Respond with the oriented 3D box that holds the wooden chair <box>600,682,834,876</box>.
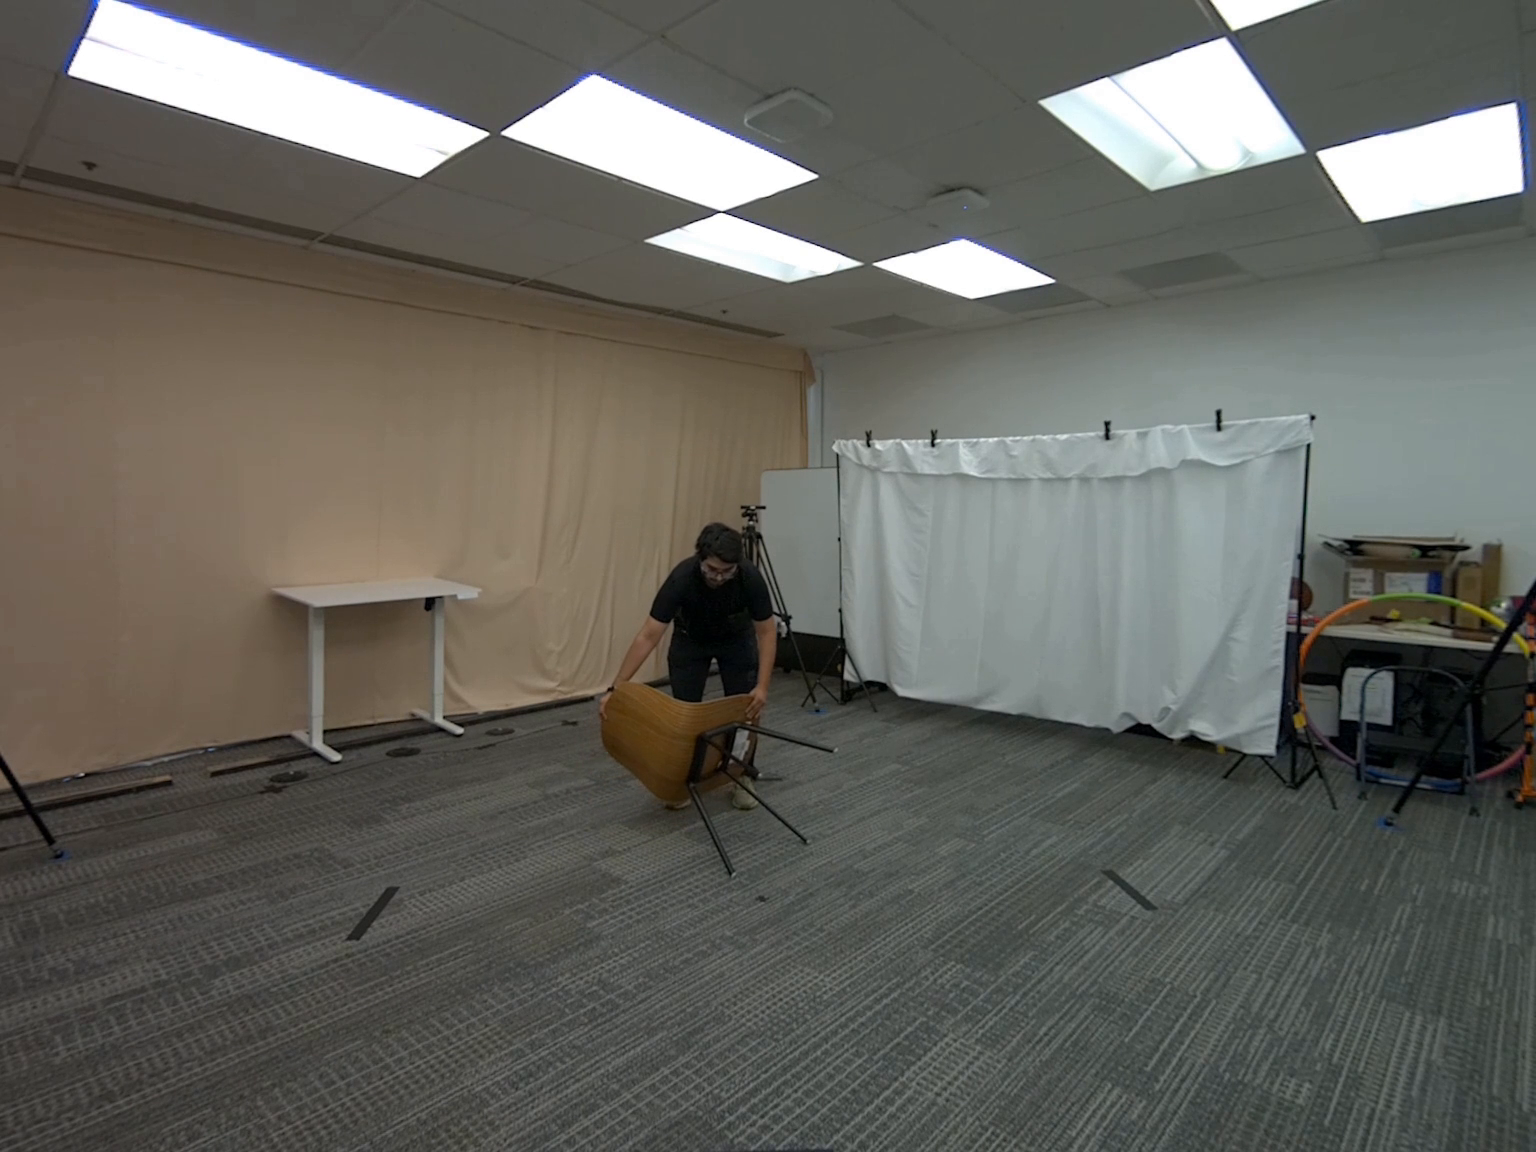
[{"bbox_3d":[-0.227,0.746,3.532,0.909,0.475,0.508,25,21,36],"label":"wooden chair"}]
